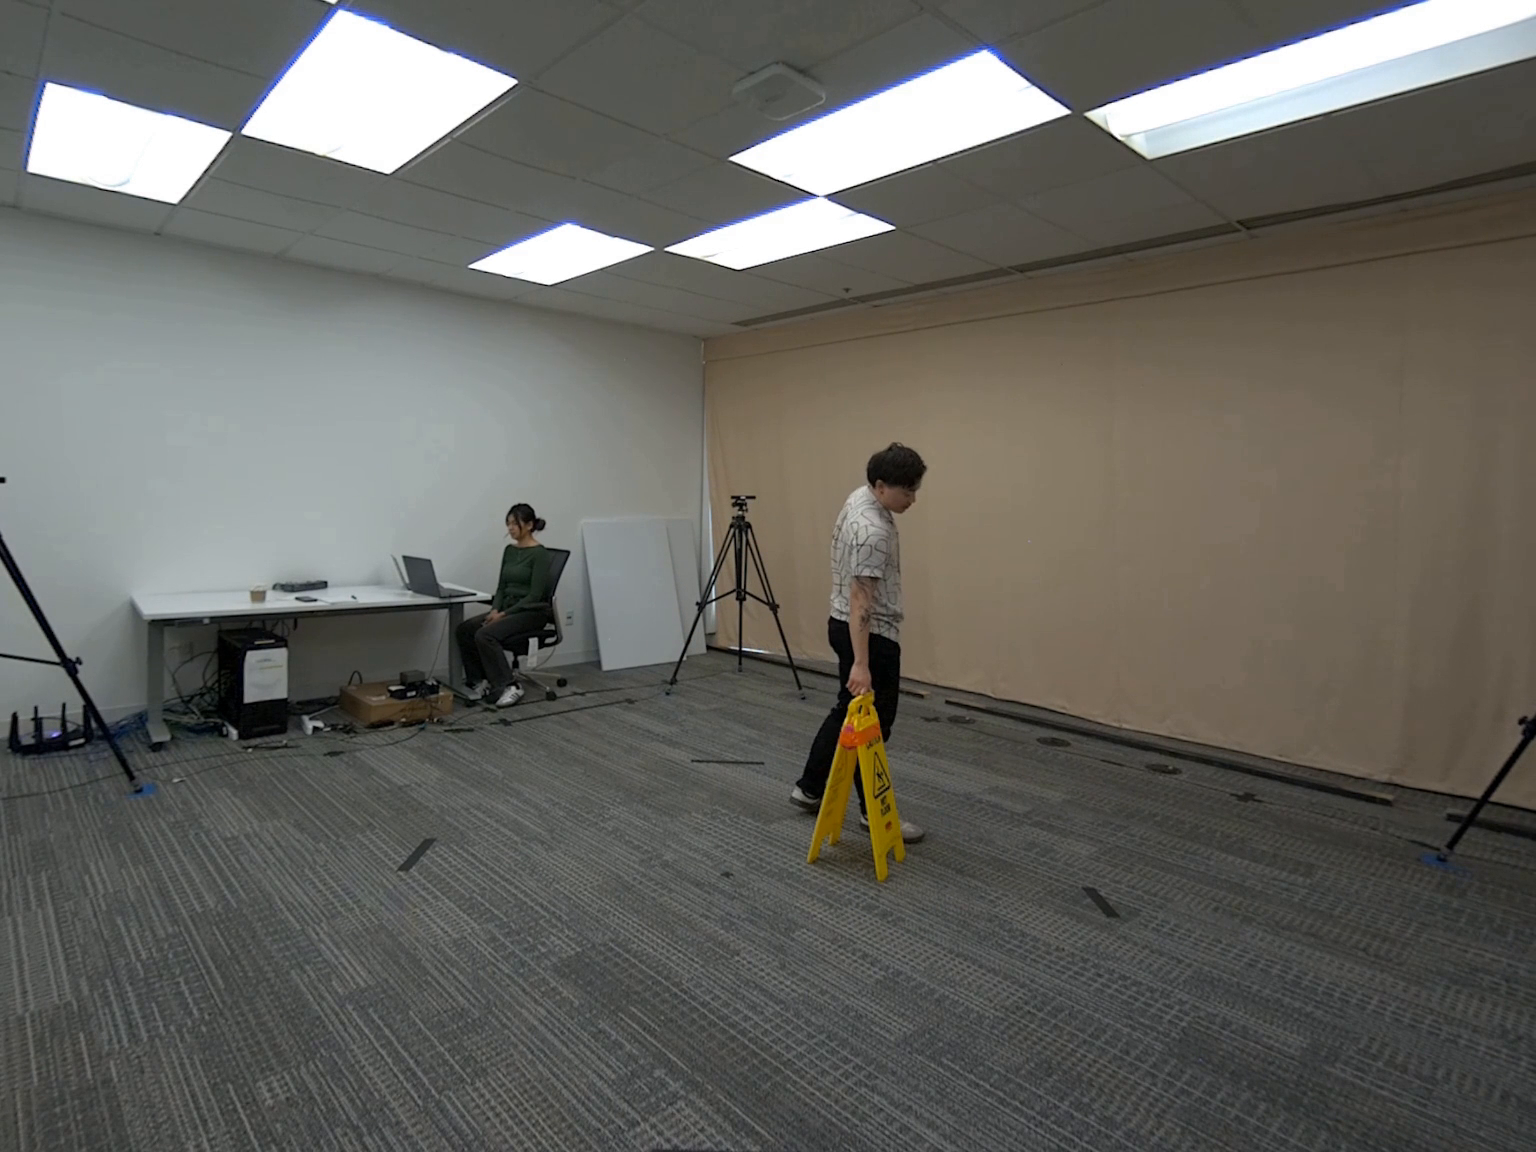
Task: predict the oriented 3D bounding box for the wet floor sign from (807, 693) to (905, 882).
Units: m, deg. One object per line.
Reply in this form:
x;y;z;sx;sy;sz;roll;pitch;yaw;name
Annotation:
0.341;0.778;3.243;0.296;0.645;0.277;2;2;29;wet floor sign
